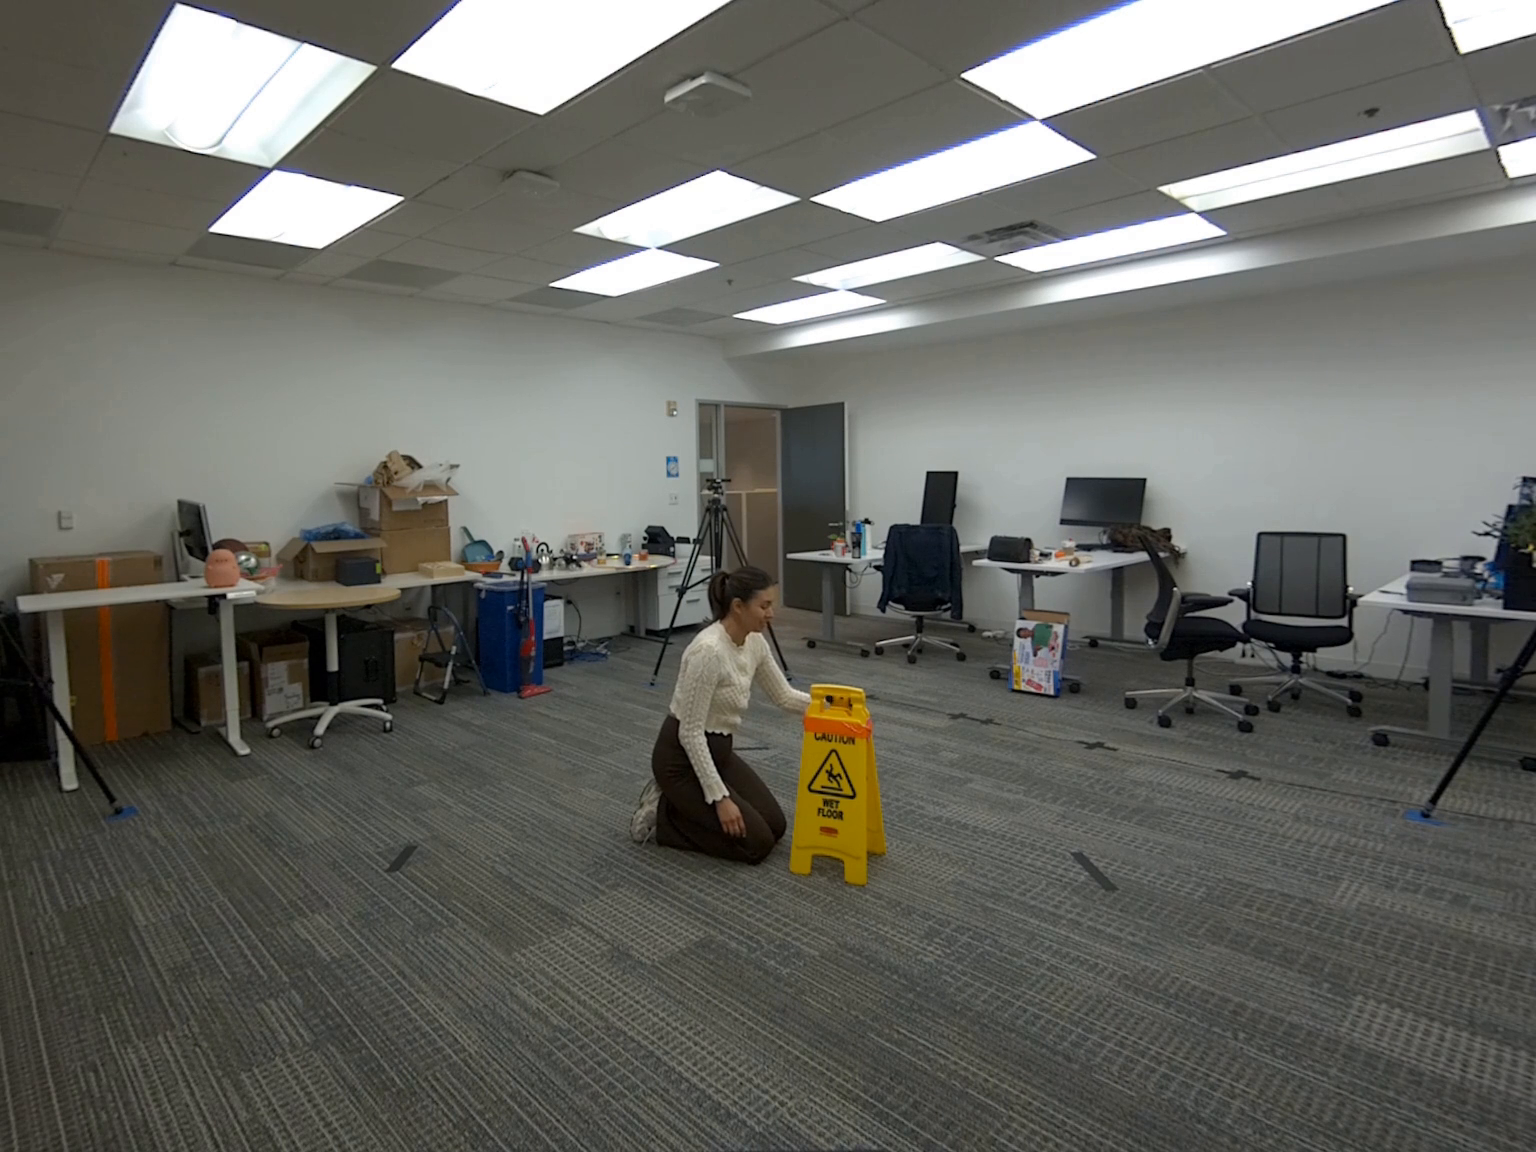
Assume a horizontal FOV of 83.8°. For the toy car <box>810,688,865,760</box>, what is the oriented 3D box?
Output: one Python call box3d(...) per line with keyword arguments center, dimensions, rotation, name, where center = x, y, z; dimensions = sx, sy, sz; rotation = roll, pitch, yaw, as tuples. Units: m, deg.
box3d(center=(0.254, 0.540, 3.144), dimensions=(0.134, 0.247, 0.083), rotation=(2, 34, 30), name="toy car")
